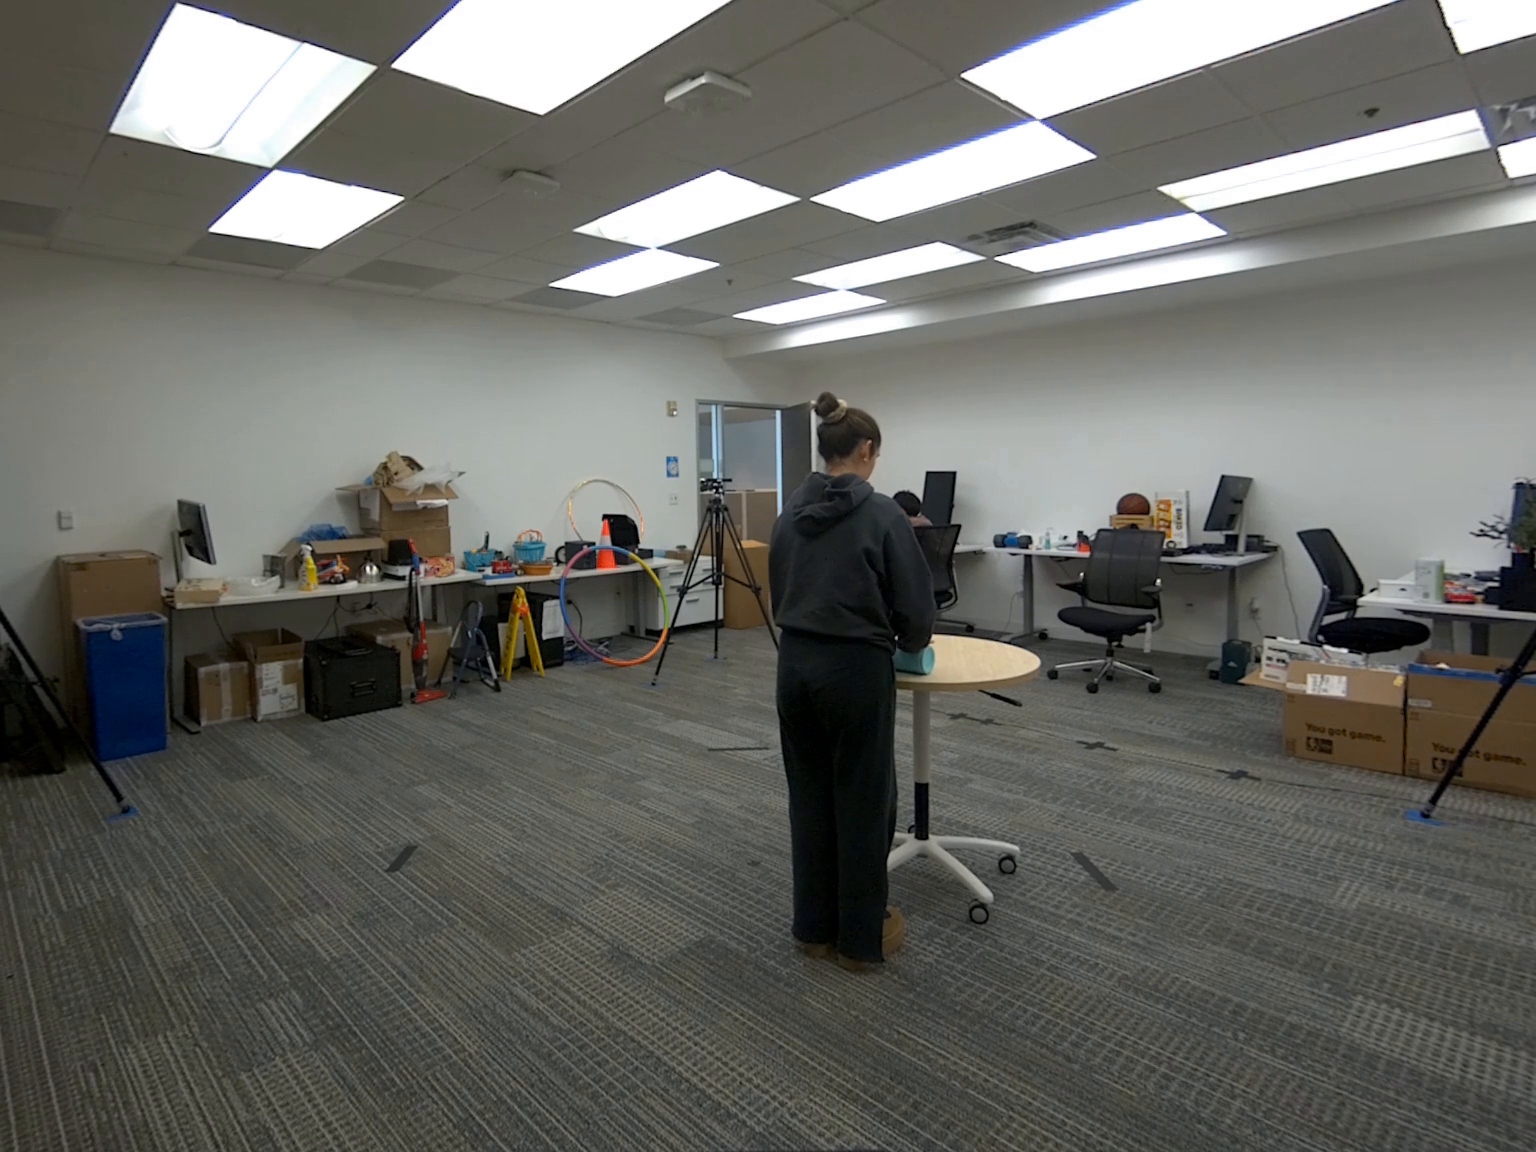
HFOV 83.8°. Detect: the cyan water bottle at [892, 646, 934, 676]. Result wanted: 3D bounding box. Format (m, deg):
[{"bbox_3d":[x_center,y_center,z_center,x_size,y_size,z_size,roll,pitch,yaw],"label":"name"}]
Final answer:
[{"bbox_3d":[0.397,0.252,2.730,0.292,0.092,0.090,4,6,38],"label":"cyan water bottle"}]
